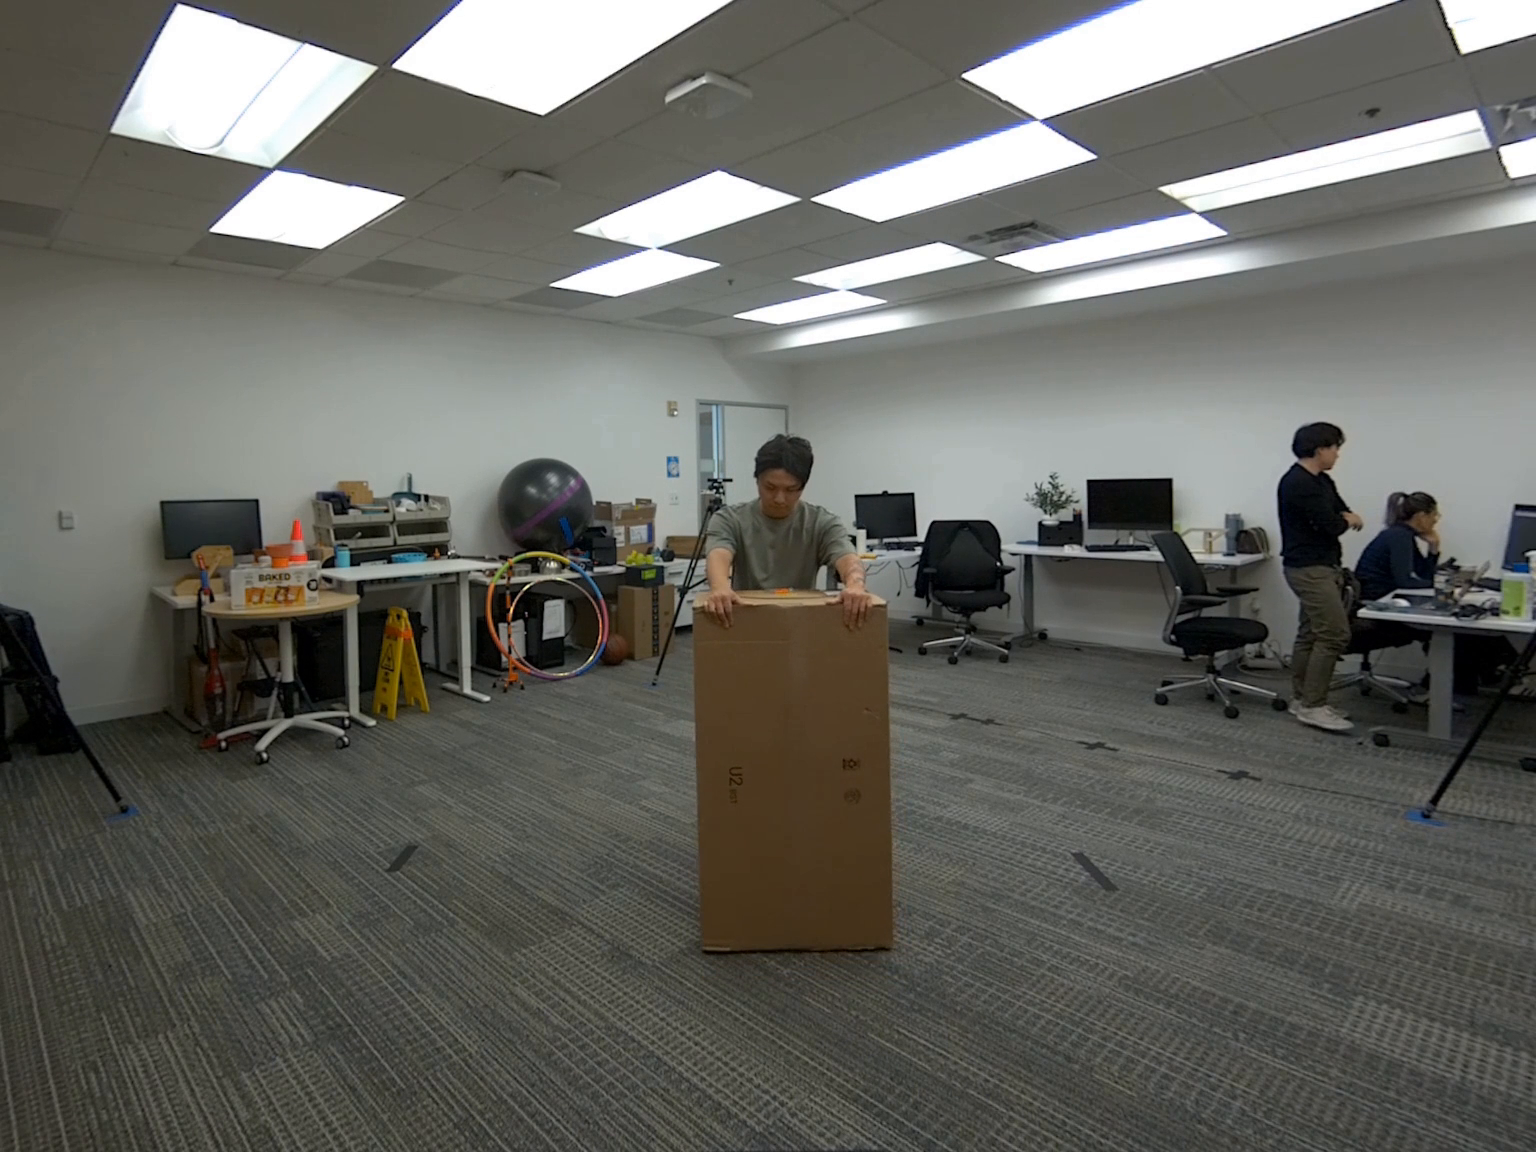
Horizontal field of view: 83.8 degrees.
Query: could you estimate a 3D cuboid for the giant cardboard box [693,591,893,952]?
[{"bbox_3d":[0.074,0.574,2.706,0.576,1.024,0.428,-2,2,-3],"label":"giant cardboard box"}]
